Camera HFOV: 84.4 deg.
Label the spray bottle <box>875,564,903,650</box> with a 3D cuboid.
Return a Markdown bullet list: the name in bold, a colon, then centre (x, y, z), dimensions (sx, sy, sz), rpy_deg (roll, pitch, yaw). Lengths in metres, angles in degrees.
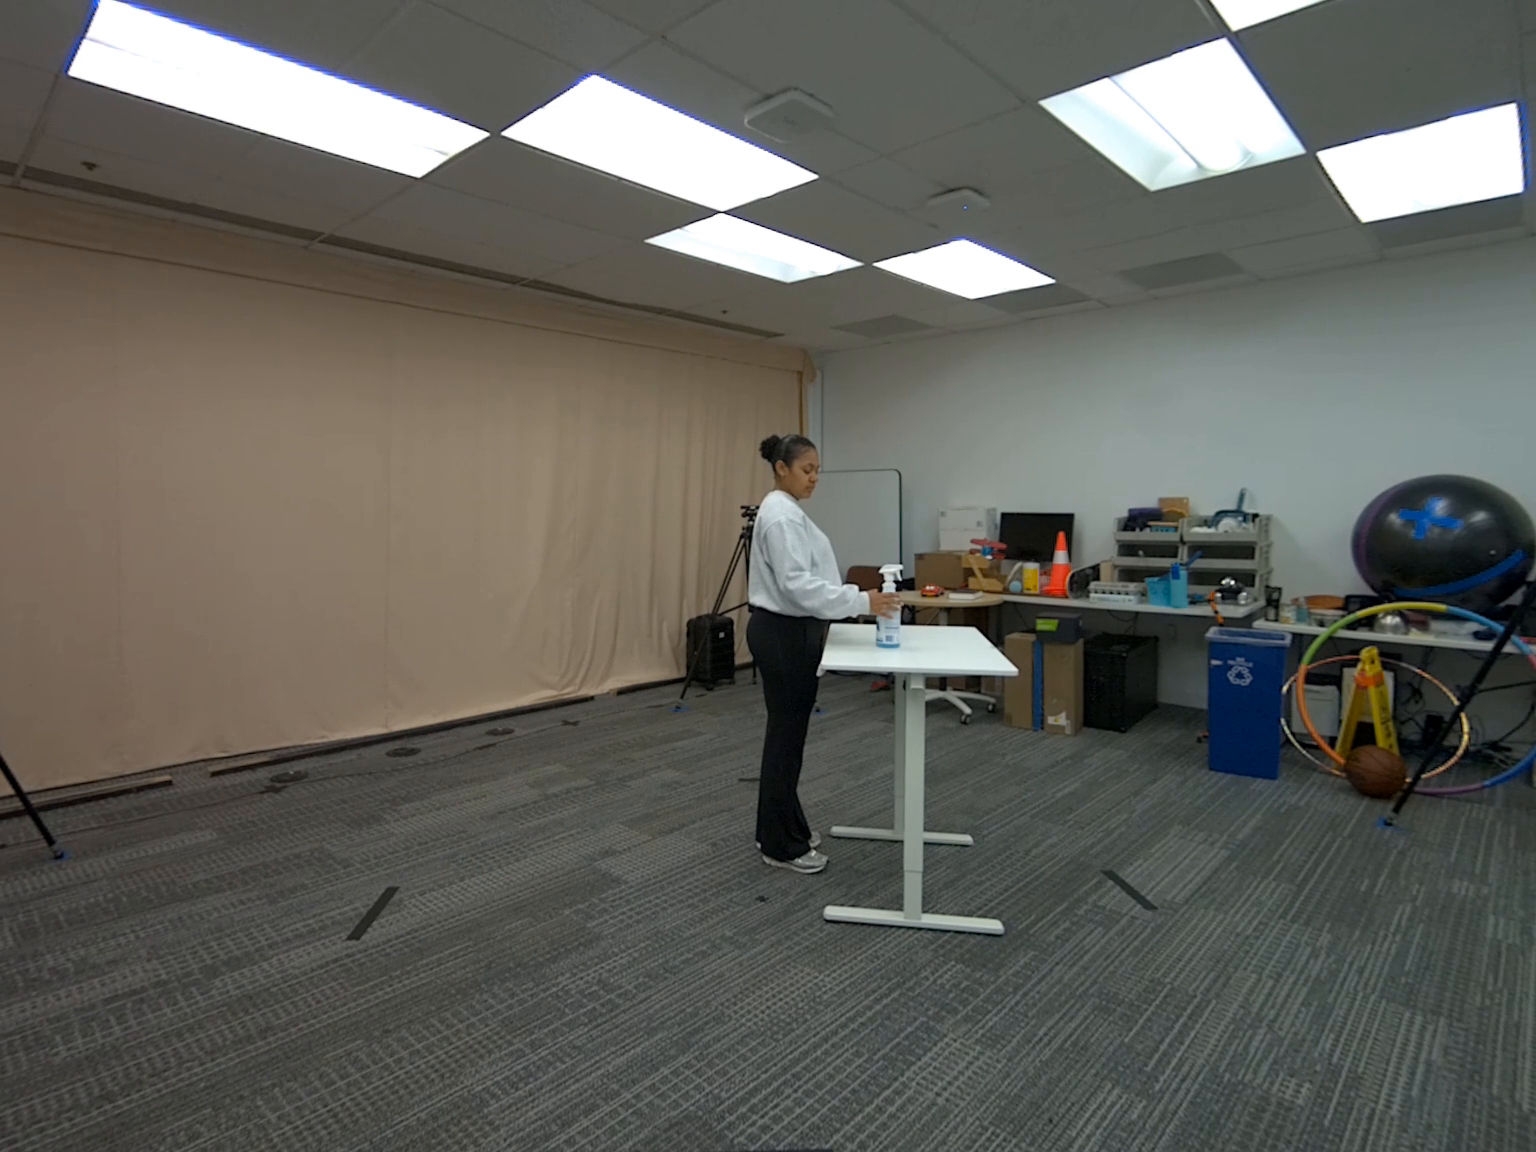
- **spray bottle**: centre (0.442, 0.111, 3.028), dimensions (0.085, 0.297, 0.092), rpy_deg (-2, 3, -25)
